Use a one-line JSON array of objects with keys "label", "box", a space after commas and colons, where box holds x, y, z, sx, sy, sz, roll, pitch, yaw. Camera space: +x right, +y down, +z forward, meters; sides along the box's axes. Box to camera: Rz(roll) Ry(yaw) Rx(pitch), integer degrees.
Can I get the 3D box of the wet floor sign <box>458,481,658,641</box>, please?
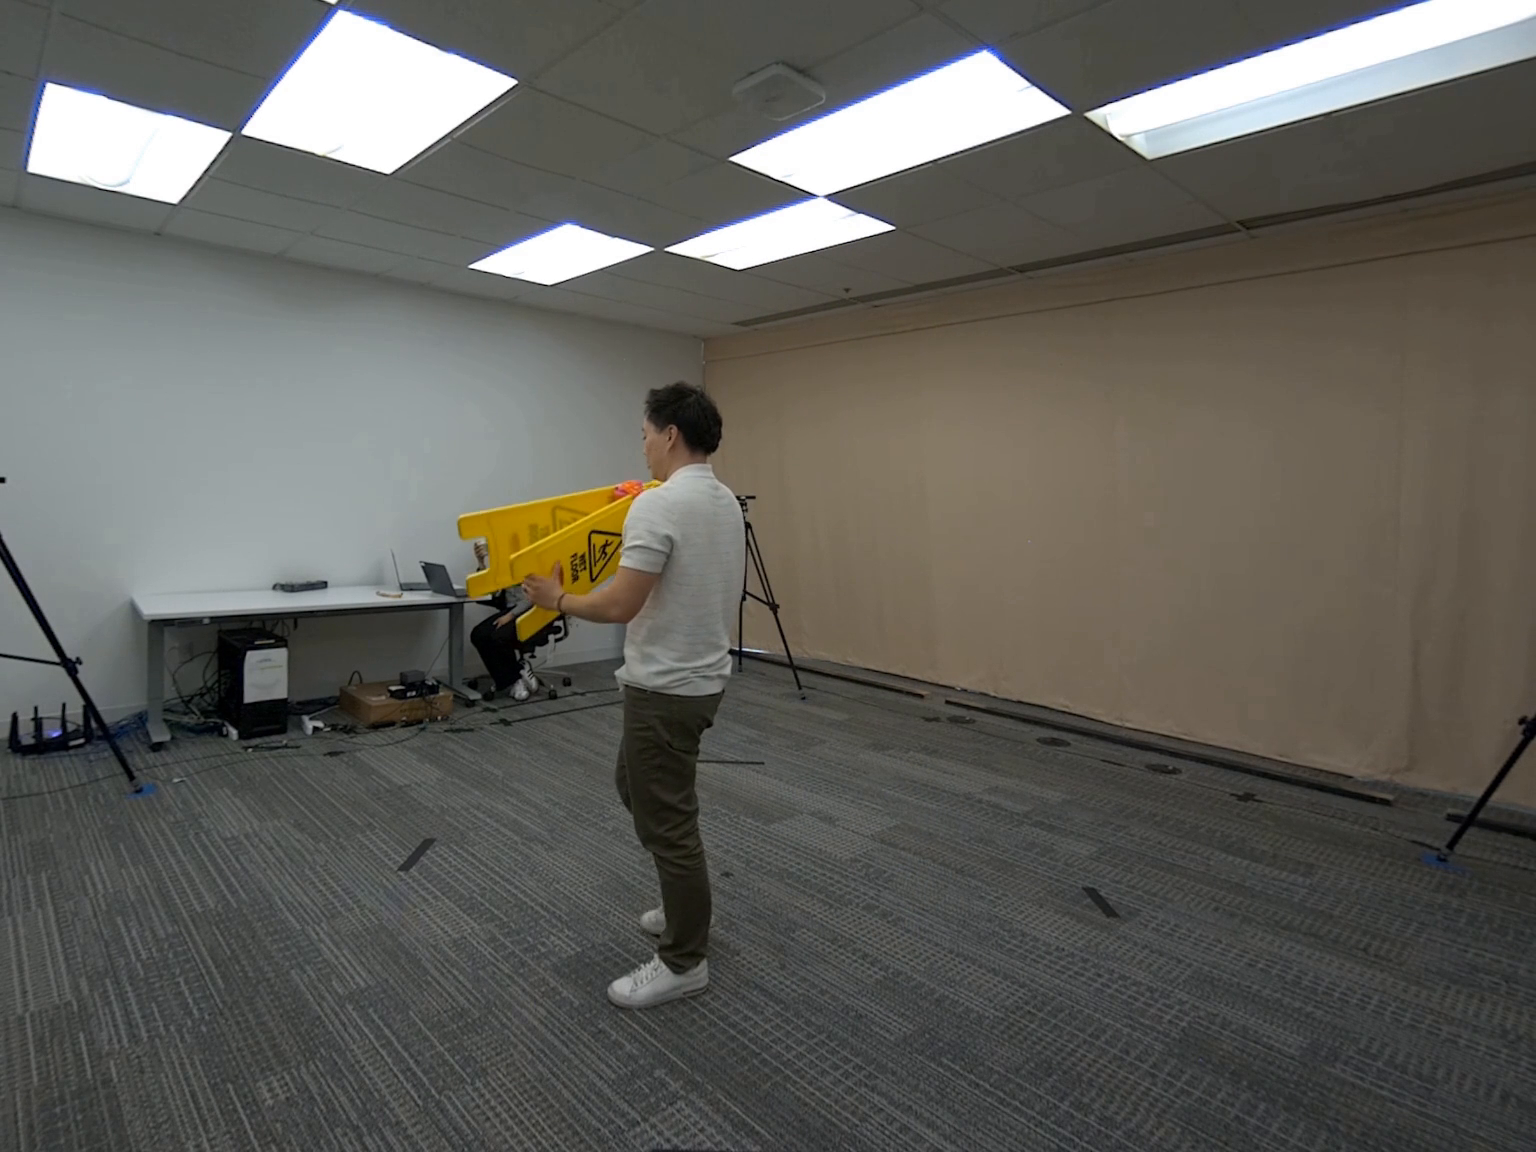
[{"label": "wet floor sign", "box": [-0.561, -0.105, 2.534, 0.298, 0.277, 0.639, 30, 42, 35]}]
